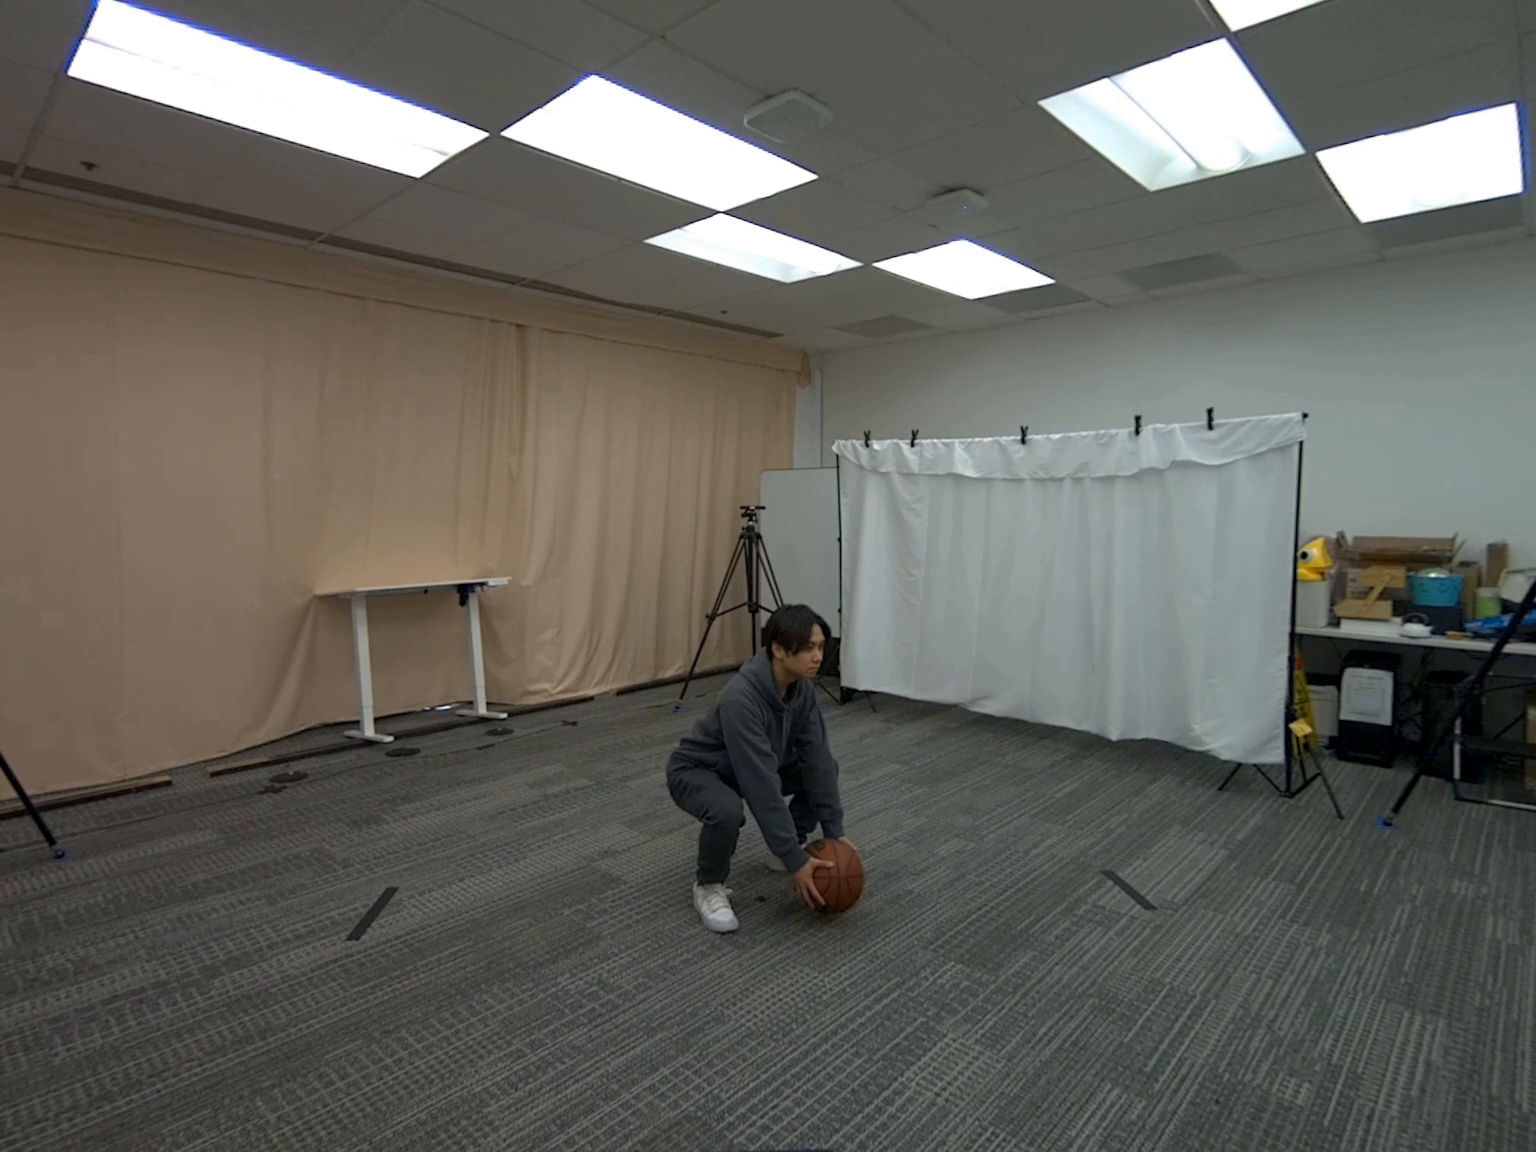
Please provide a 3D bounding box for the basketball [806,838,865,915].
[{"bbox_3d":[0.202,0.999,2.825,0.236,0.235,0.237,0,4,-2],"label":"basketball"}]
